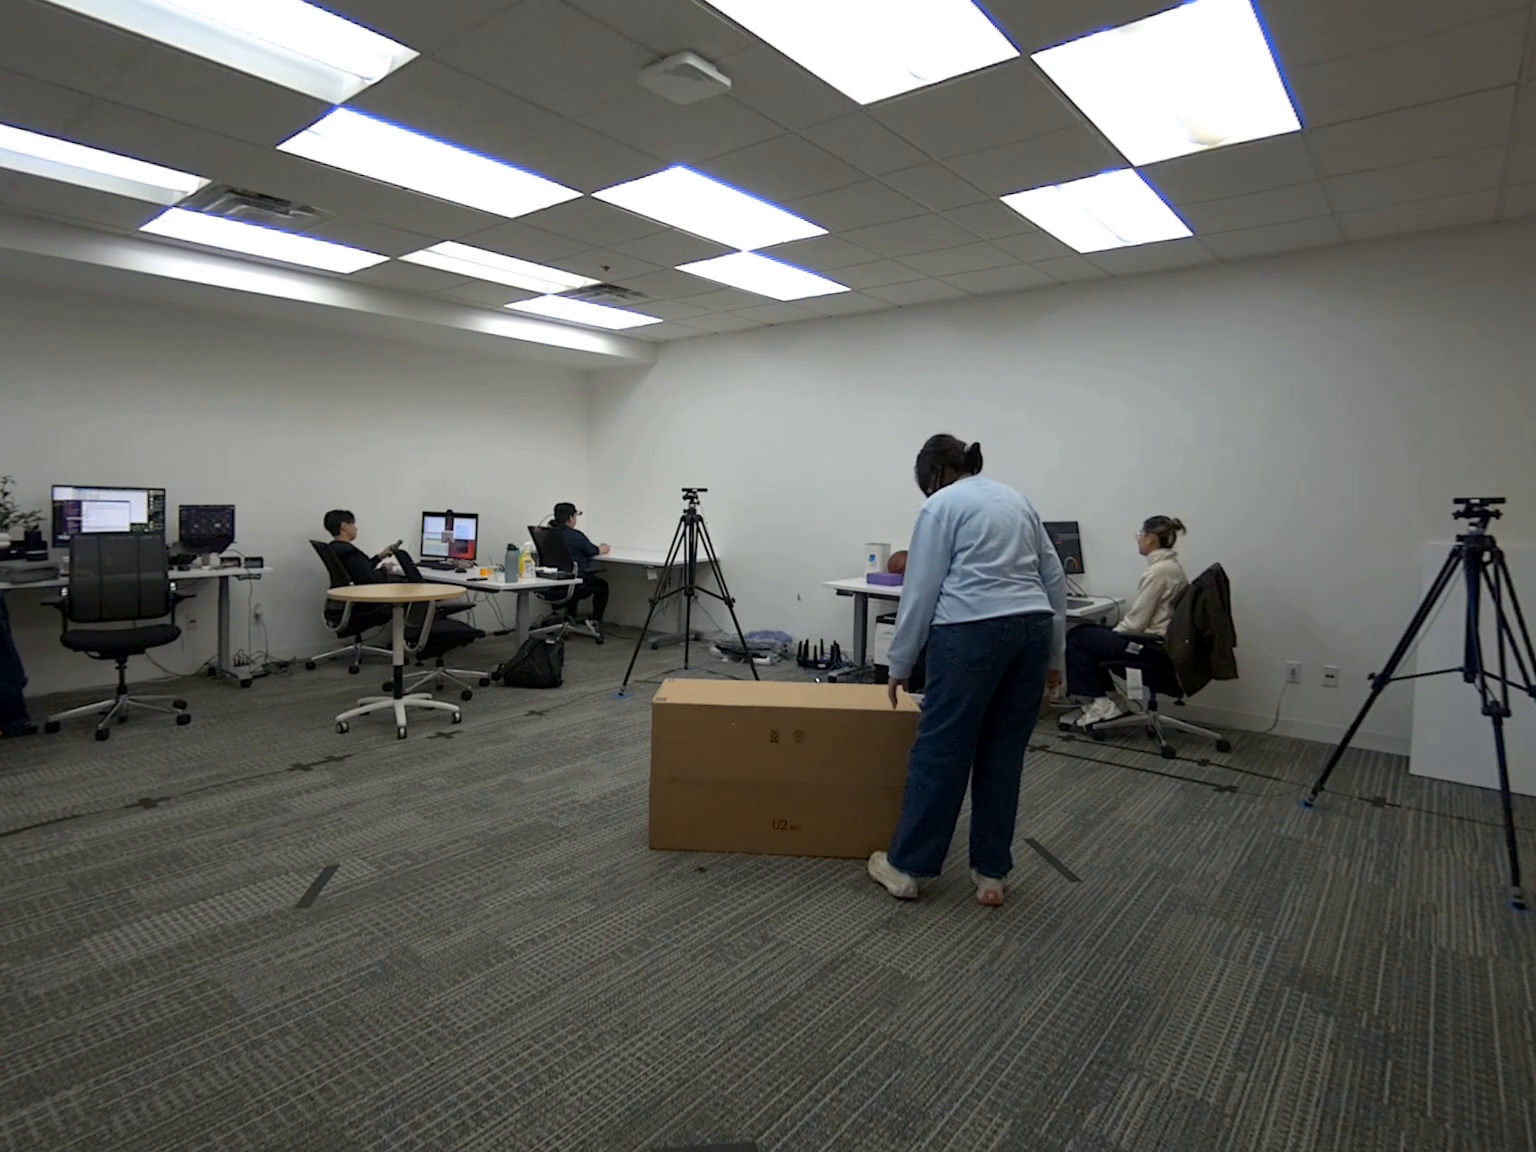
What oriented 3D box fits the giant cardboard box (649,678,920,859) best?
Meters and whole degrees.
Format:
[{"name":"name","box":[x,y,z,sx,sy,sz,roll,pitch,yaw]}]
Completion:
[{"name":"giant cardboard box","box":[0.047,0.750,3.438,1.030,0.576,0.426,1,3,3]}]
